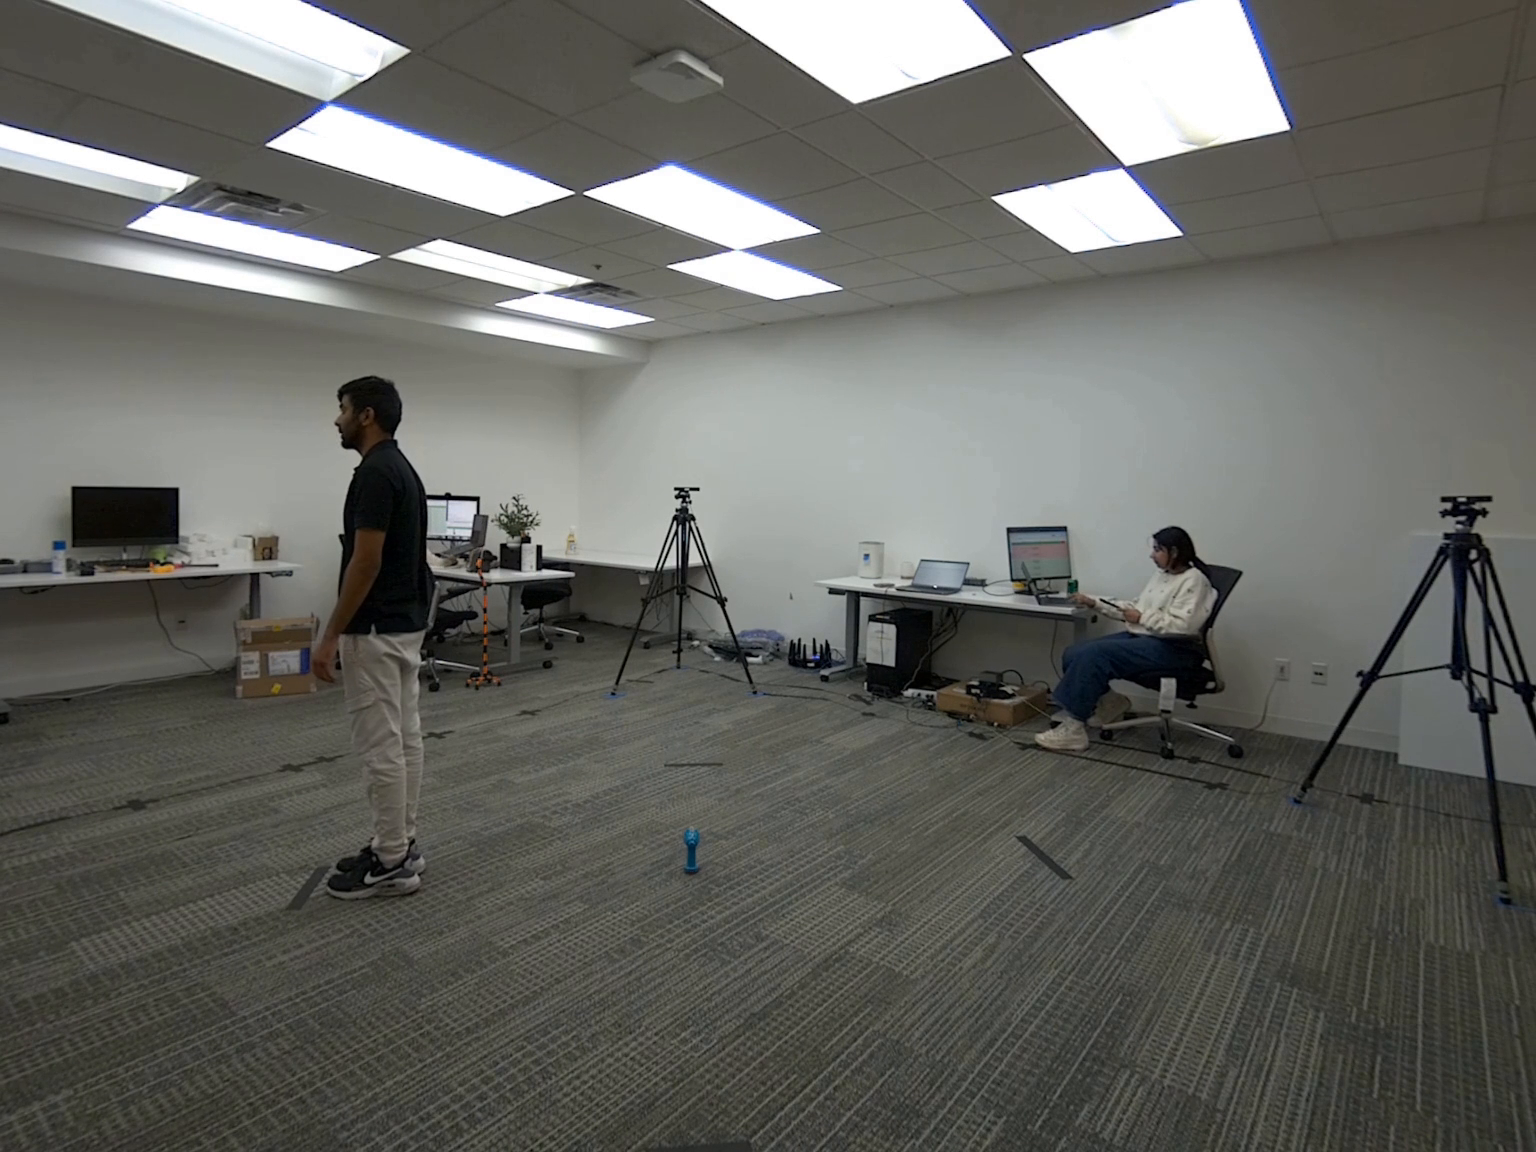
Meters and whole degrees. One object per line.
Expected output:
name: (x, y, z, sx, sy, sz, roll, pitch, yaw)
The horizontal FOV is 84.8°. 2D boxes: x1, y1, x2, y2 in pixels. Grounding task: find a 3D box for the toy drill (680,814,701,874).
toy drill: (-0.290, 0.987, 3.114, 0.061, 0.145, 0.172, -1, 5, -8)
